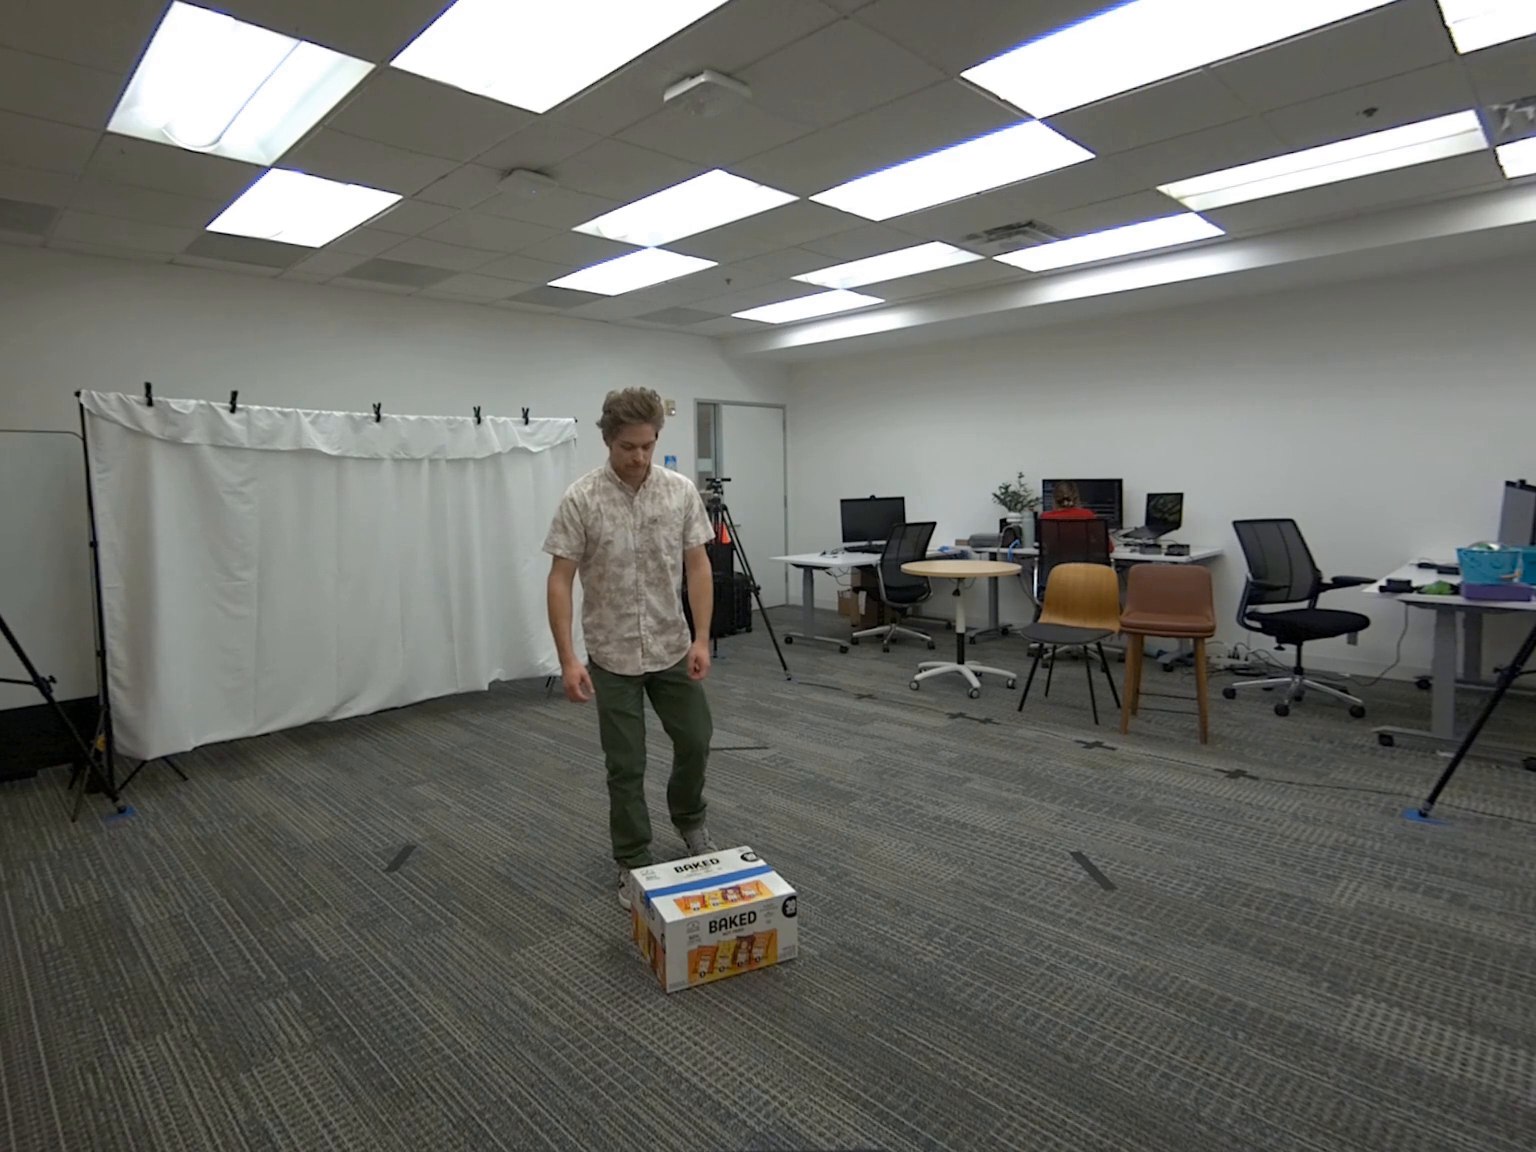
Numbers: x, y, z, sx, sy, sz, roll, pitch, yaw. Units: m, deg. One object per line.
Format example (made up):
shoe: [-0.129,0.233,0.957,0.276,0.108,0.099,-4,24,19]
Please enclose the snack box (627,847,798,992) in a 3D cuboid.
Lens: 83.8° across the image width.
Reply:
snack box: [-0.163,1.008,2.548,0.397,0.205,0.349,-4,7,-25]
